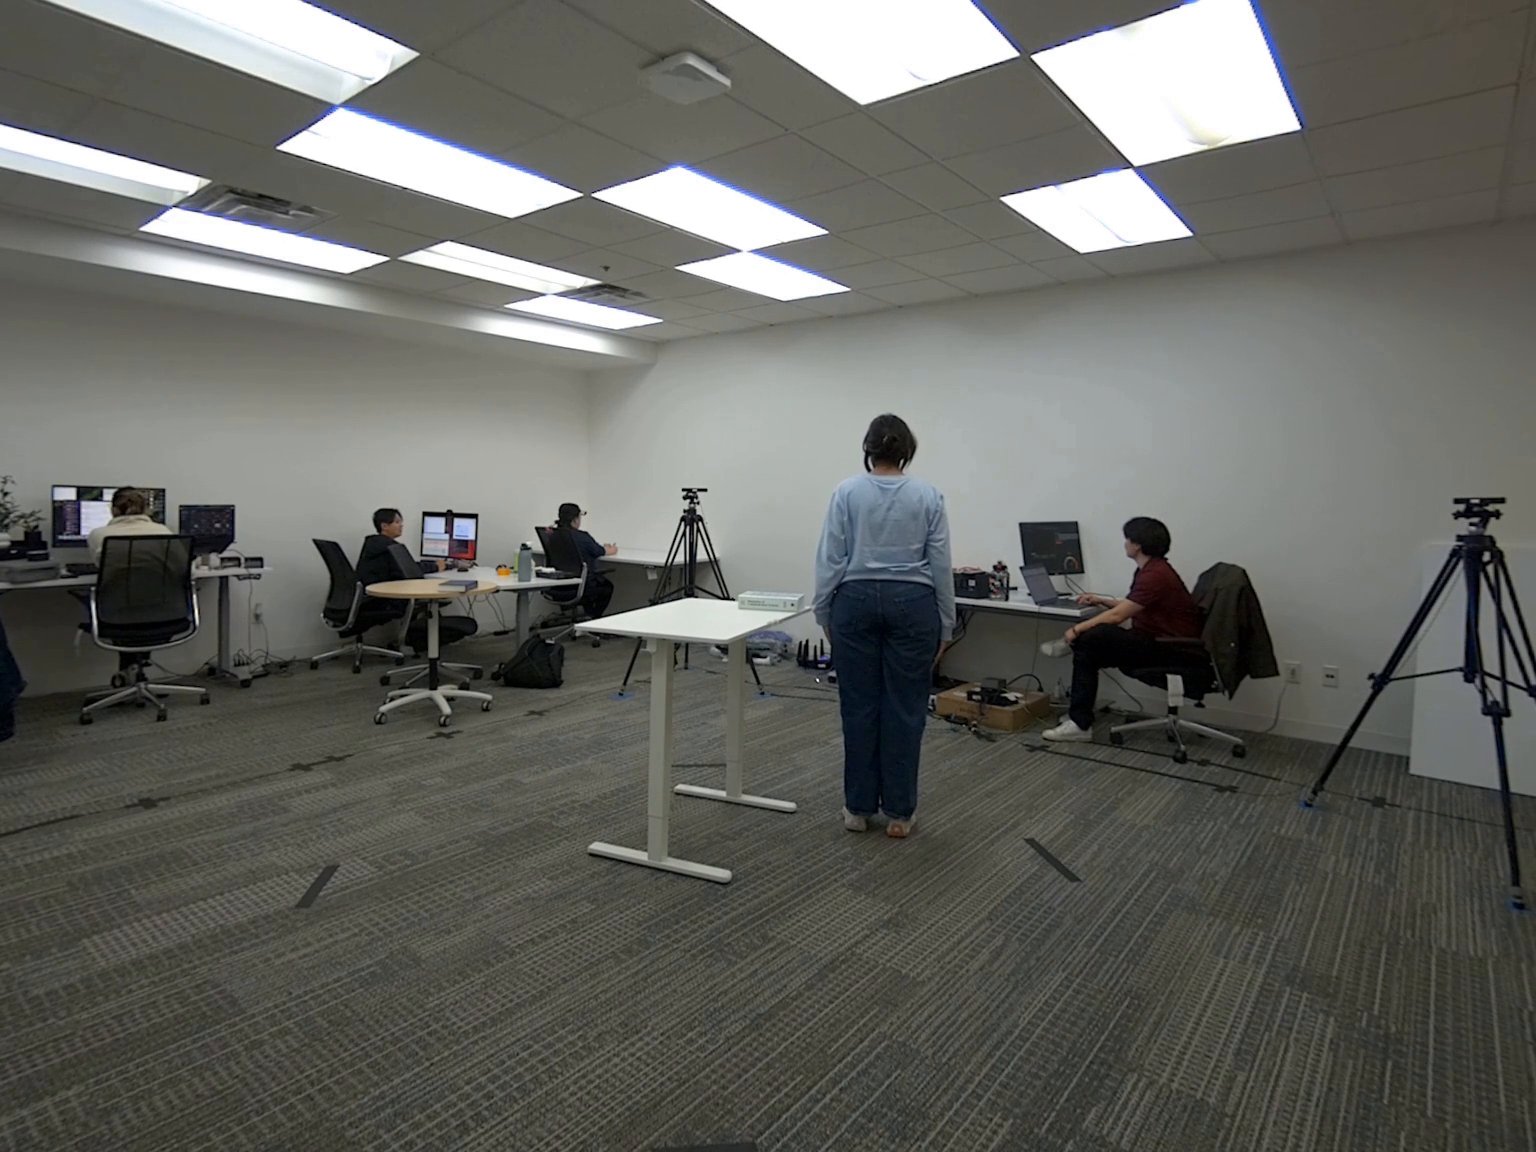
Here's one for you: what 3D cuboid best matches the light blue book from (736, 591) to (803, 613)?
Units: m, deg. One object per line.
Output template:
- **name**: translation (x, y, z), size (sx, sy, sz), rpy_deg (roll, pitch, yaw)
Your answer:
- **light blue book**: translation (0.003, 0.106, 3.730), size (0.265, 0.059, 0.189), rpy_deg (2, 6, 13)
